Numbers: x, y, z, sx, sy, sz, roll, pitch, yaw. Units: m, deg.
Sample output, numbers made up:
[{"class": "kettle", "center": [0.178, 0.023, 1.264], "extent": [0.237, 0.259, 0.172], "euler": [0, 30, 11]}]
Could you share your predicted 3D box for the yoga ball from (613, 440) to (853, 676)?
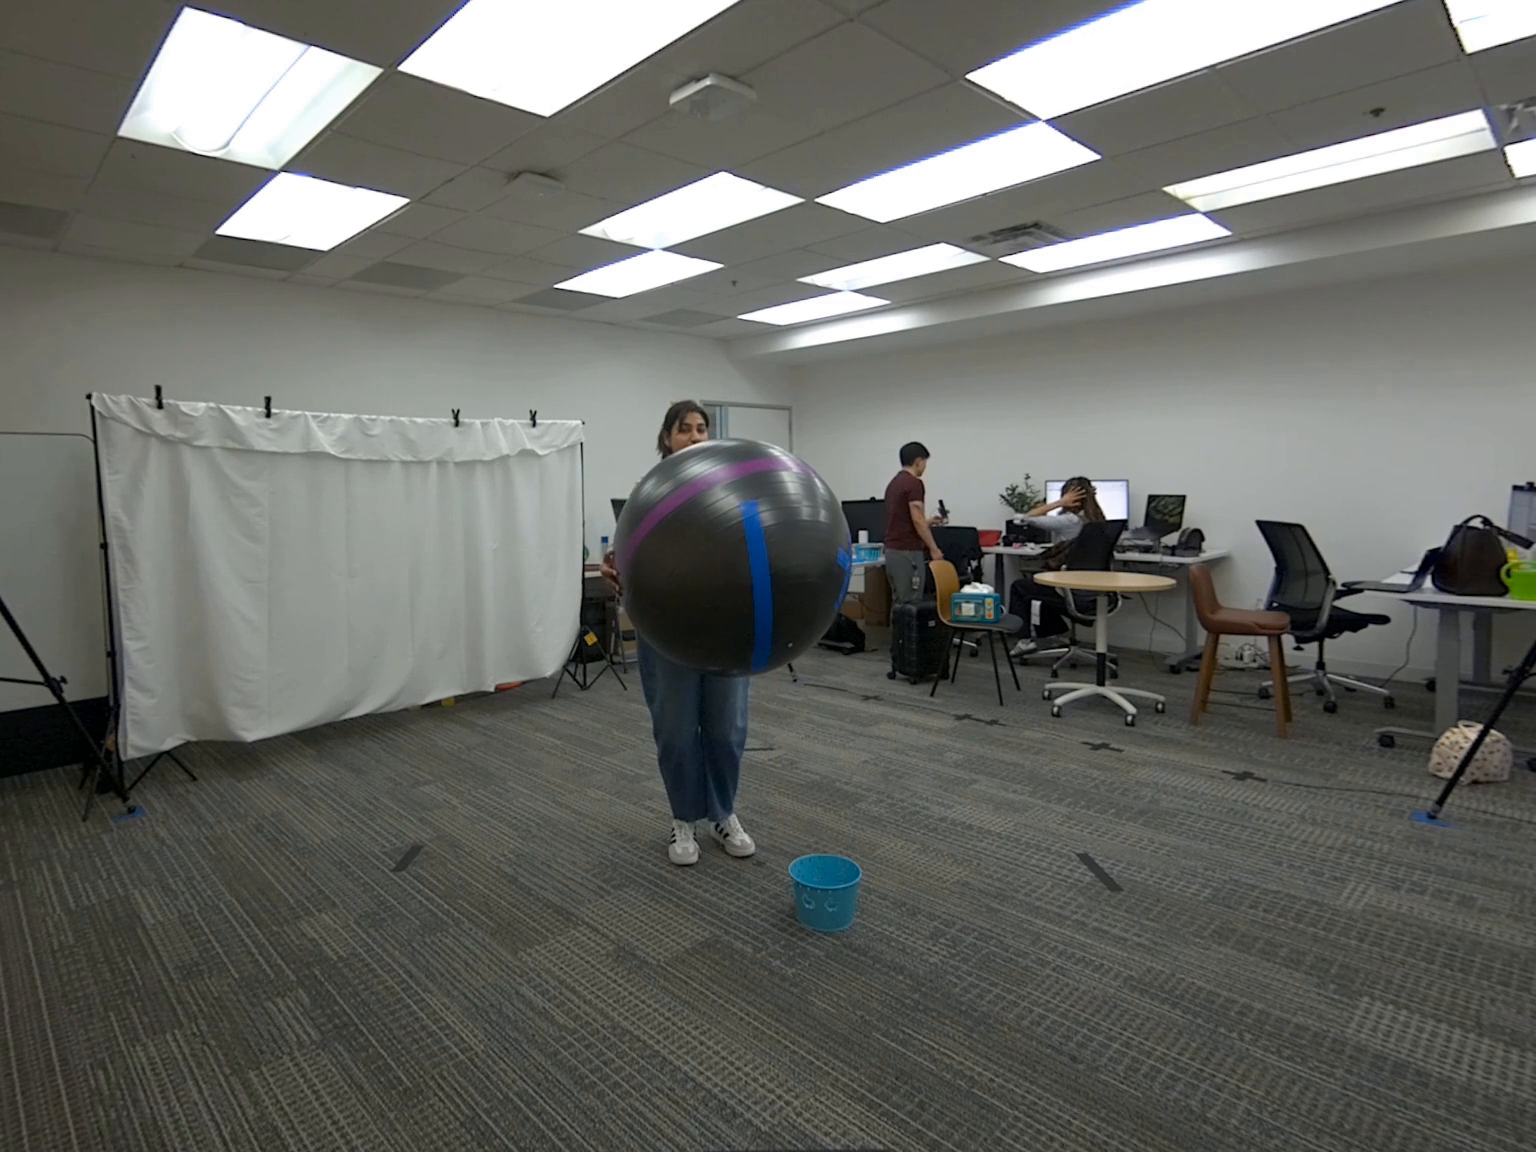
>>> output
[{"class": "yoga ball", "center": [-0.108, -0.053, 2.709], "extent": [0.757, 0.755, 0.762], "euler": [-1, 5, -2]}]
